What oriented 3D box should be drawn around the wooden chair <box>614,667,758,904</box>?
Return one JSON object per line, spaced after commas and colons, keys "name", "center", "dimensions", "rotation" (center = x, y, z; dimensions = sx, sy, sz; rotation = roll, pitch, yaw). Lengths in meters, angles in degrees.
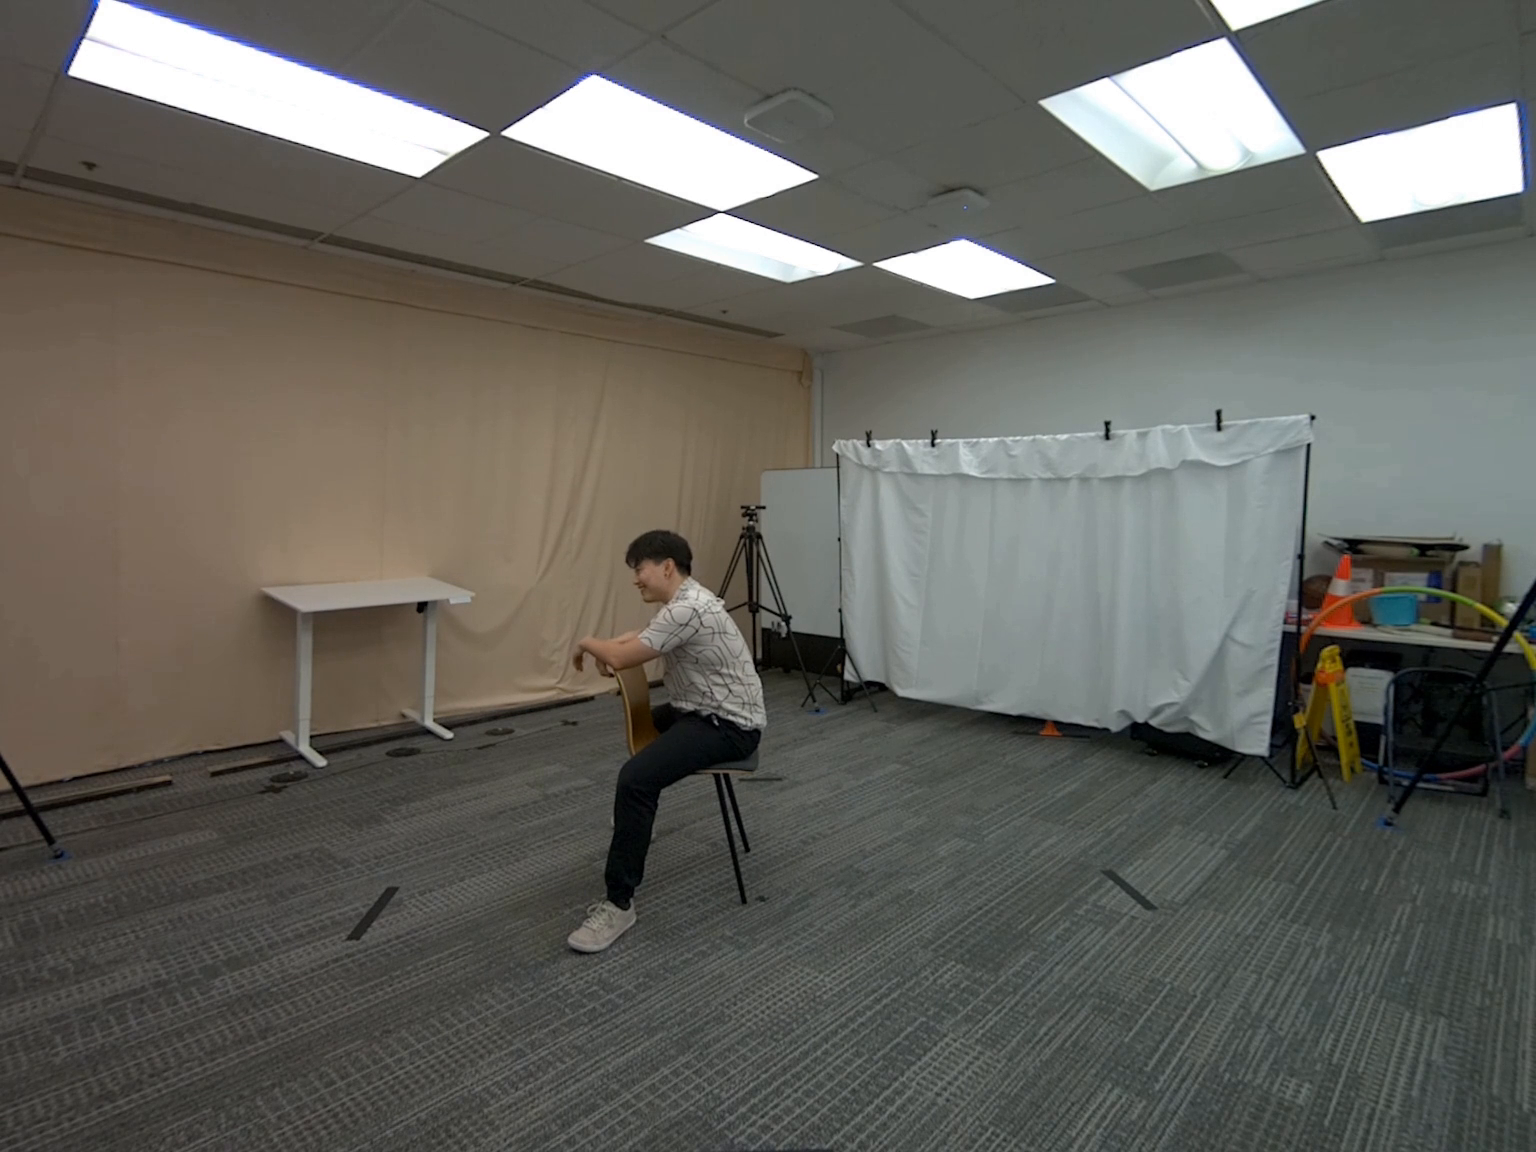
{"name": "wooden chair", "center": [-0.292, 0.714, 3.154], "dimensions": [0.525, 0.875, 0.478], "rotation": [-5, 3, 2]}
